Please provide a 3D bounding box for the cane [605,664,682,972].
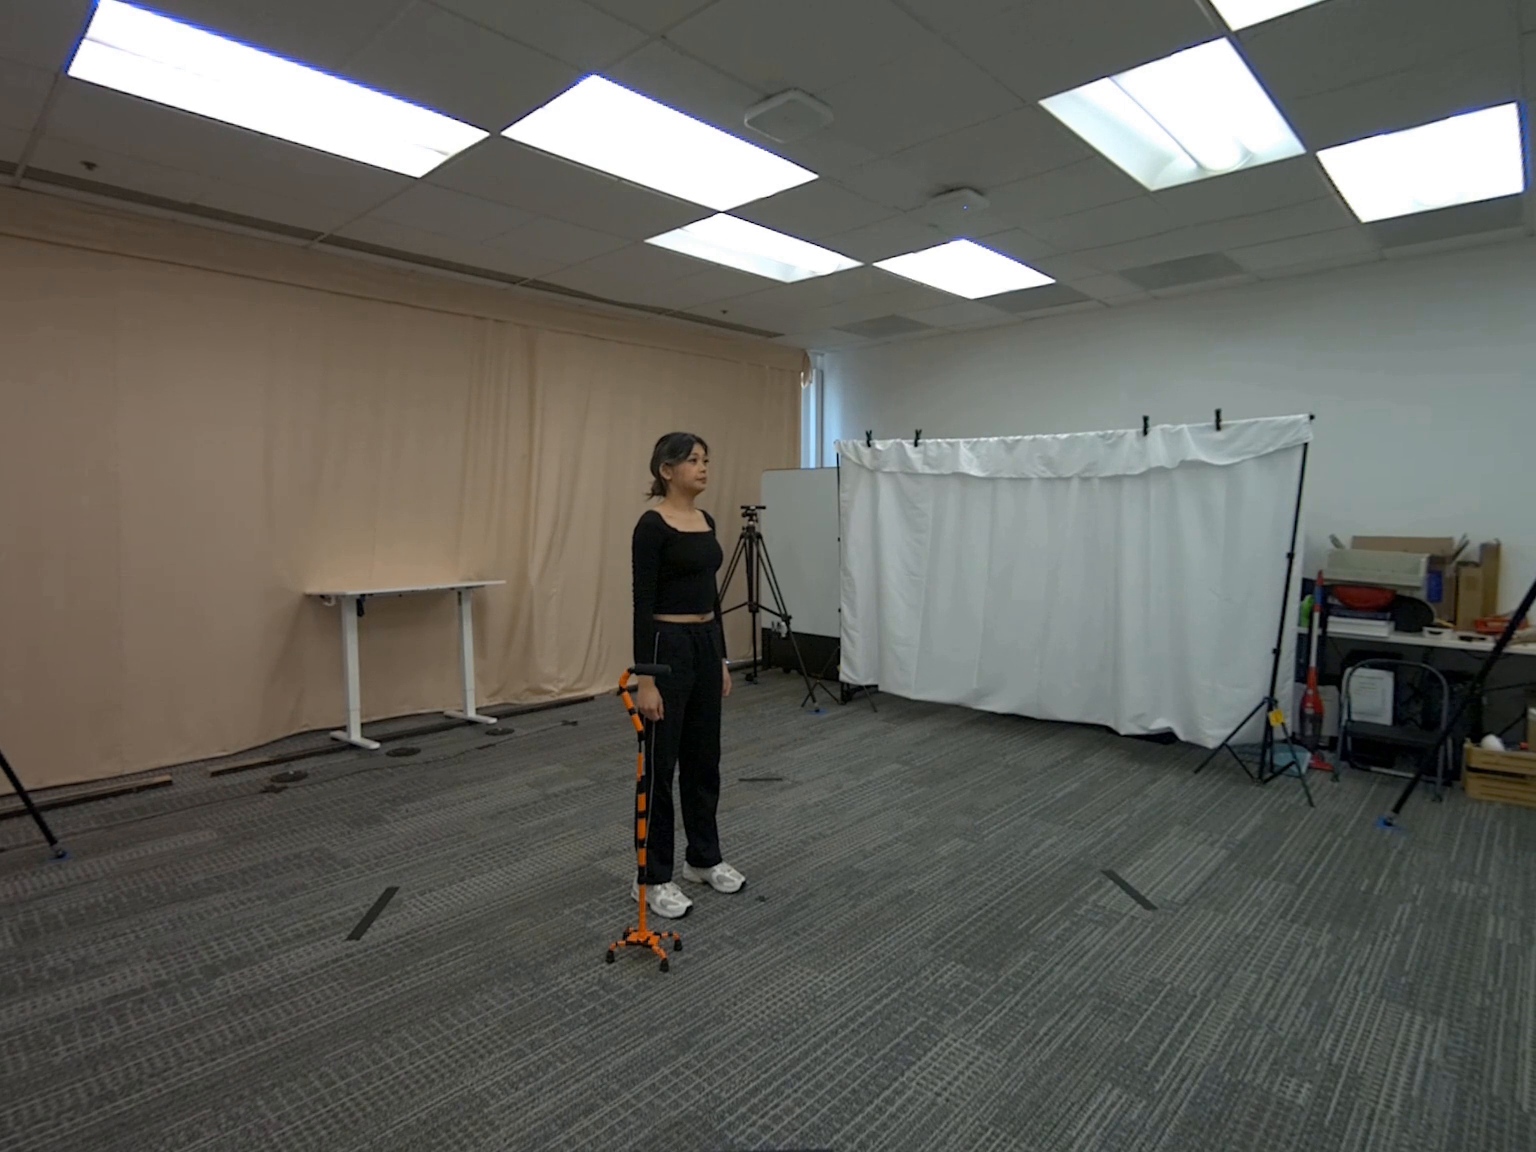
[{"bbox_3d":[-0.388,0.723,2.591,0.210,0.906,0.149,1,3,15],"label":"cane"}]
